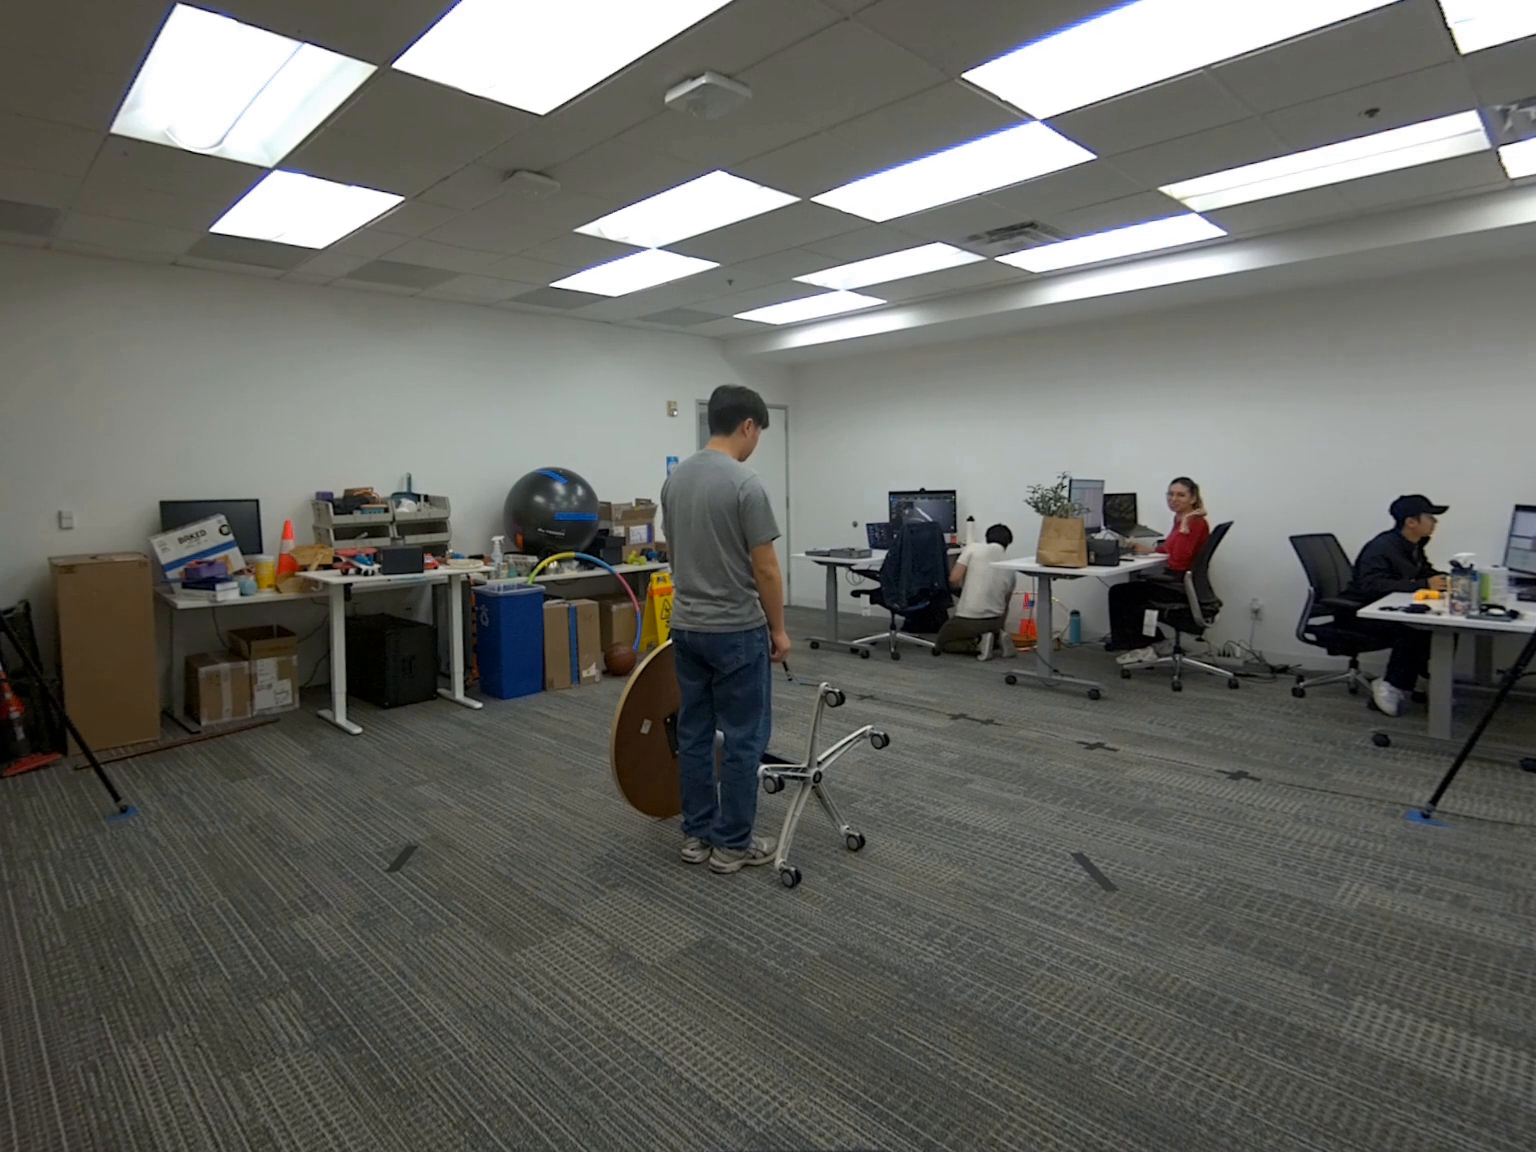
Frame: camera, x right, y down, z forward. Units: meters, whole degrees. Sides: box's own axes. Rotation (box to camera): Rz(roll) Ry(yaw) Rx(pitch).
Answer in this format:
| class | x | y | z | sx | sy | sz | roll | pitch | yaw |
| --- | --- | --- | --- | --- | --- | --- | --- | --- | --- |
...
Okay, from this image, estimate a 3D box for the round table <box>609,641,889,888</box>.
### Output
| class | x | y | z | sx | sy | sz | roll | pitch | yaw |
| --- | --- | --- | --- | --- | --- | --- | --- | --- | --- |
| round table | -0.051 | 0.683 | 3.299 | 0.821 | 0.759 | 0.744 | 11 | 11 | 41 |
